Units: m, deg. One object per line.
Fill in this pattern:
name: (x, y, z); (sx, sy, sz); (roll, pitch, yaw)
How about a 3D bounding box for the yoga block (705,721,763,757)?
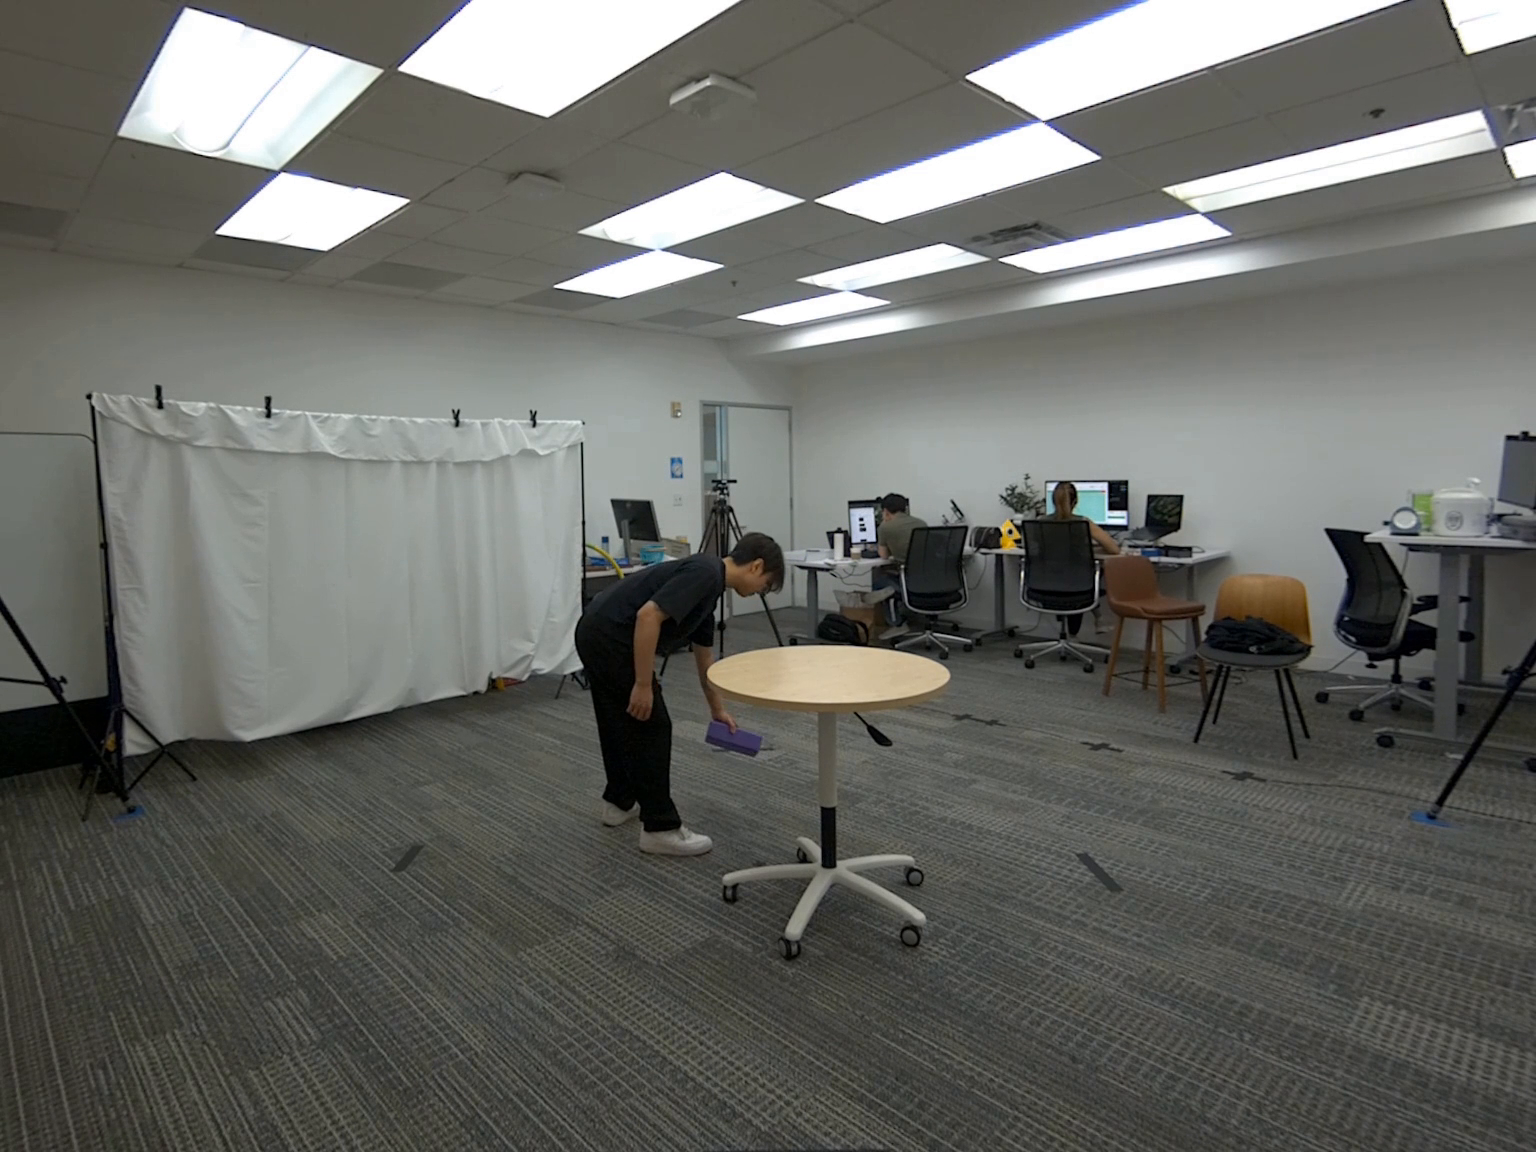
yoga block: (-0.142, 0.684, 3.617); (0.229, 0.077, 0.146); (12, -24, 0)
